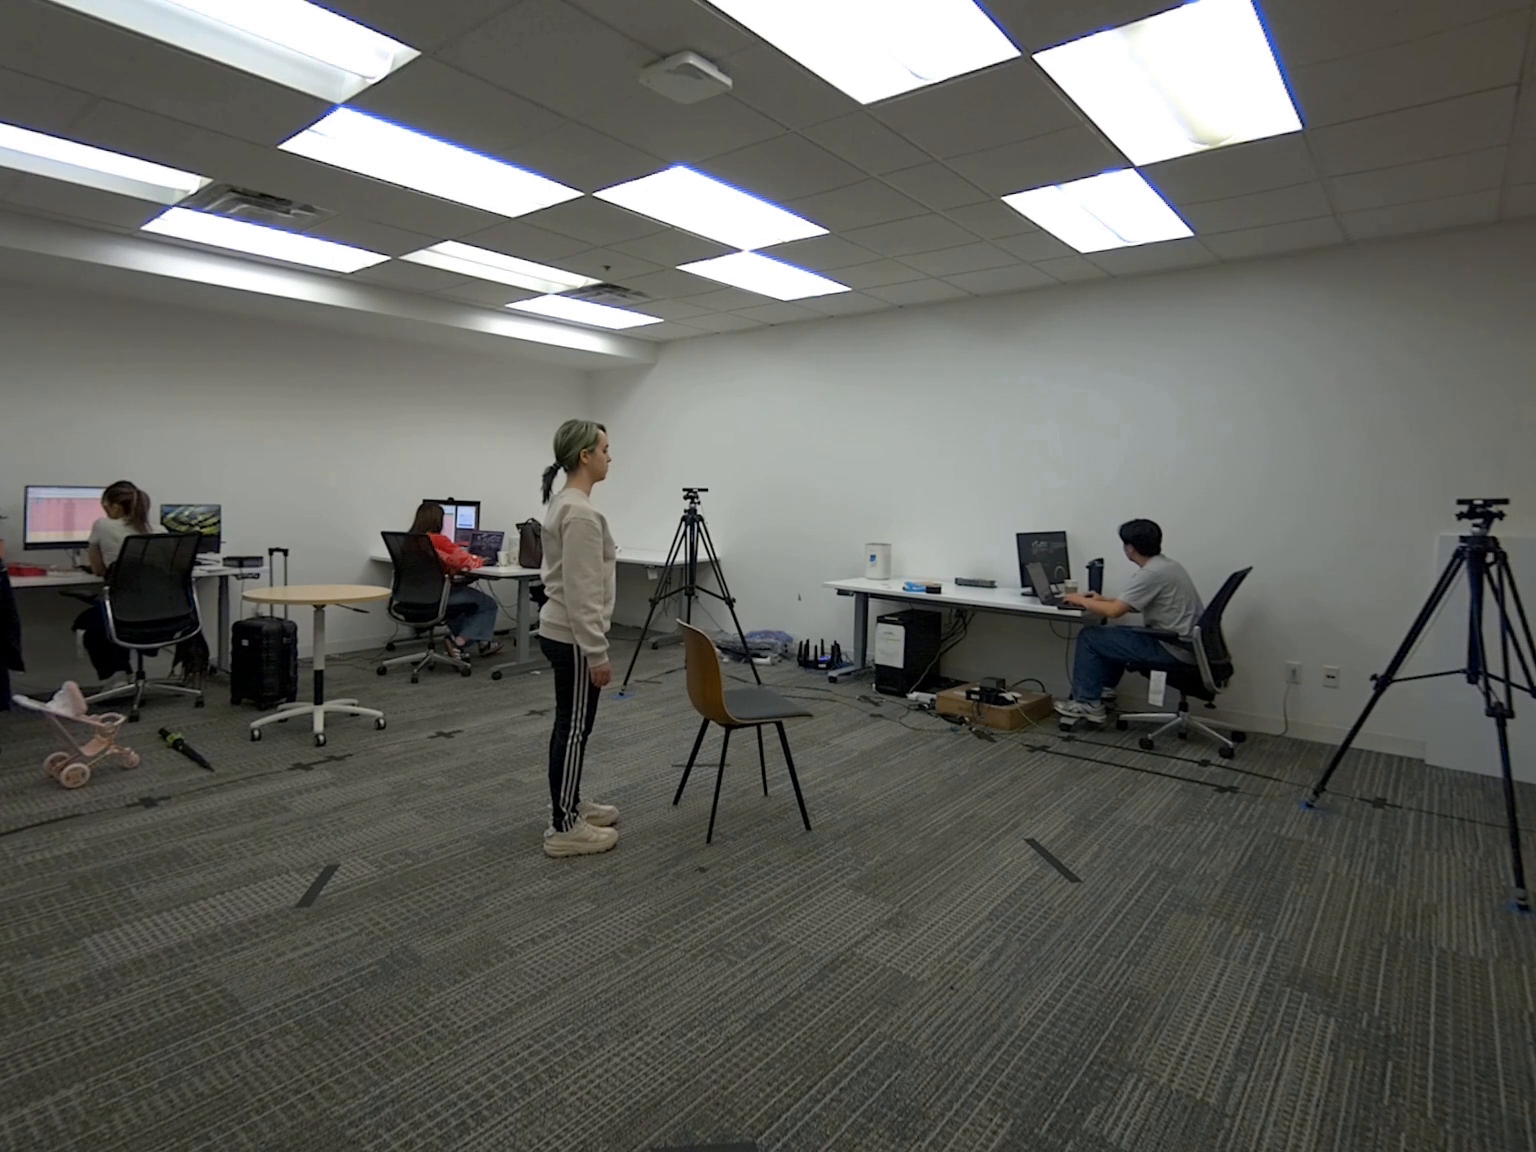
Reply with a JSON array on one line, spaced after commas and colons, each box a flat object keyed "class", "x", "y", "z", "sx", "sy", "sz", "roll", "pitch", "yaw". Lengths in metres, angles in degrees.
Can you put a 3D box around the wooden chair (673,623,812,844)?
[{"class": "wooden chair", "x": -0.112, "y": 0.602, "z": 3.587, "sx": 0.513, "sy": 0.874, "sz": 0.490, "roll": -5, "pitch": 5, "yaw": -22}]
